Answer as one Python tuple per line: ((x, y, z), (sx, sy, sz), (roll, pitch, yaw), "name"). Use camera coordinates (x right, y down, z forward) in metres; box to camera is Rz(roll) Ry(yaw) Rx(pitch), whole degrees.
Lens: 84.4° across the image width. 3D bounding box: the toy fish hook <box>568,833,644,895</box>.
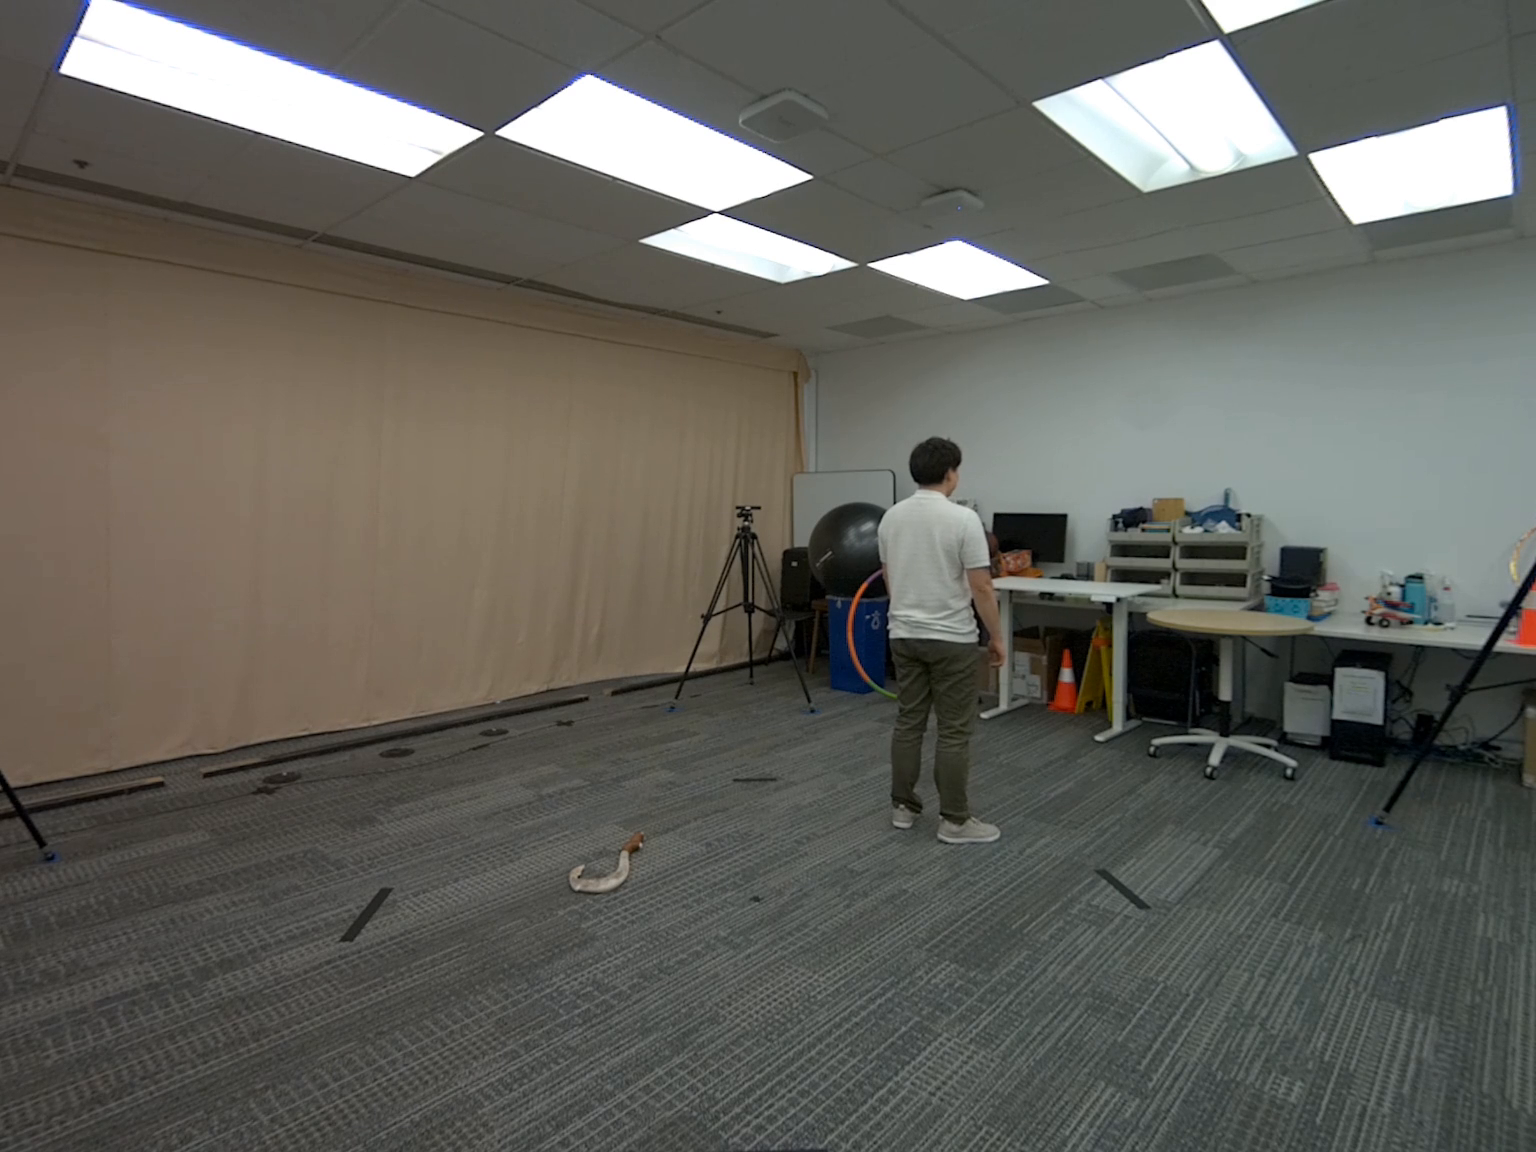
((-0.618, 1.101, 3.274), (0.227, 0.048, 0.503), (1, 5, 8), "toy fish hook")
